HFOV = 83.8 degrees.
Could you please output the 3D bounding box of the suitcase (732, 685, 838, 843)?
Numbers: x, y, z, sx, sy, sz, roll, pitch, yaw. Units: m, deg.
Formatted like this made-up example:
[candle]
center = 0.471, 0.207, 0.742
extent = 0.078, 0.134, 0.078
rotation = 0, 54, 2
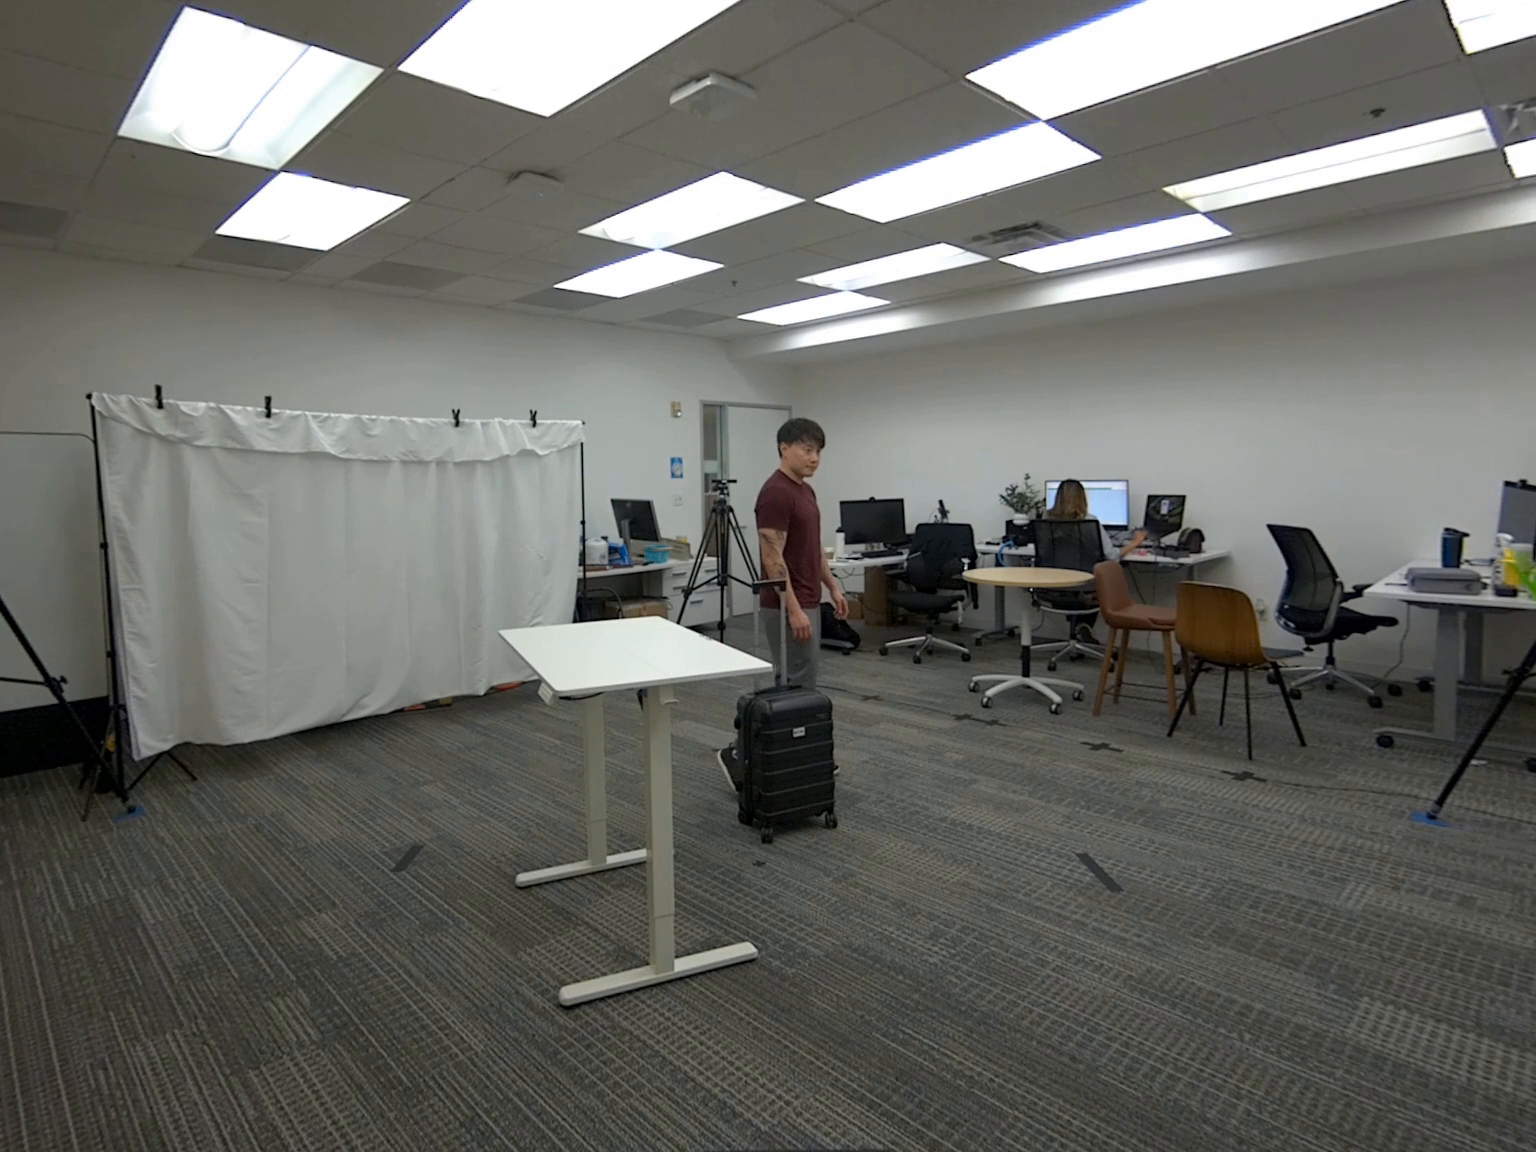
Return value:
[suitcase]
center = 0.069, 0.530, 3.447
extent = 0.376, 0.975, 0.263
rotation = -3, 4, -26
